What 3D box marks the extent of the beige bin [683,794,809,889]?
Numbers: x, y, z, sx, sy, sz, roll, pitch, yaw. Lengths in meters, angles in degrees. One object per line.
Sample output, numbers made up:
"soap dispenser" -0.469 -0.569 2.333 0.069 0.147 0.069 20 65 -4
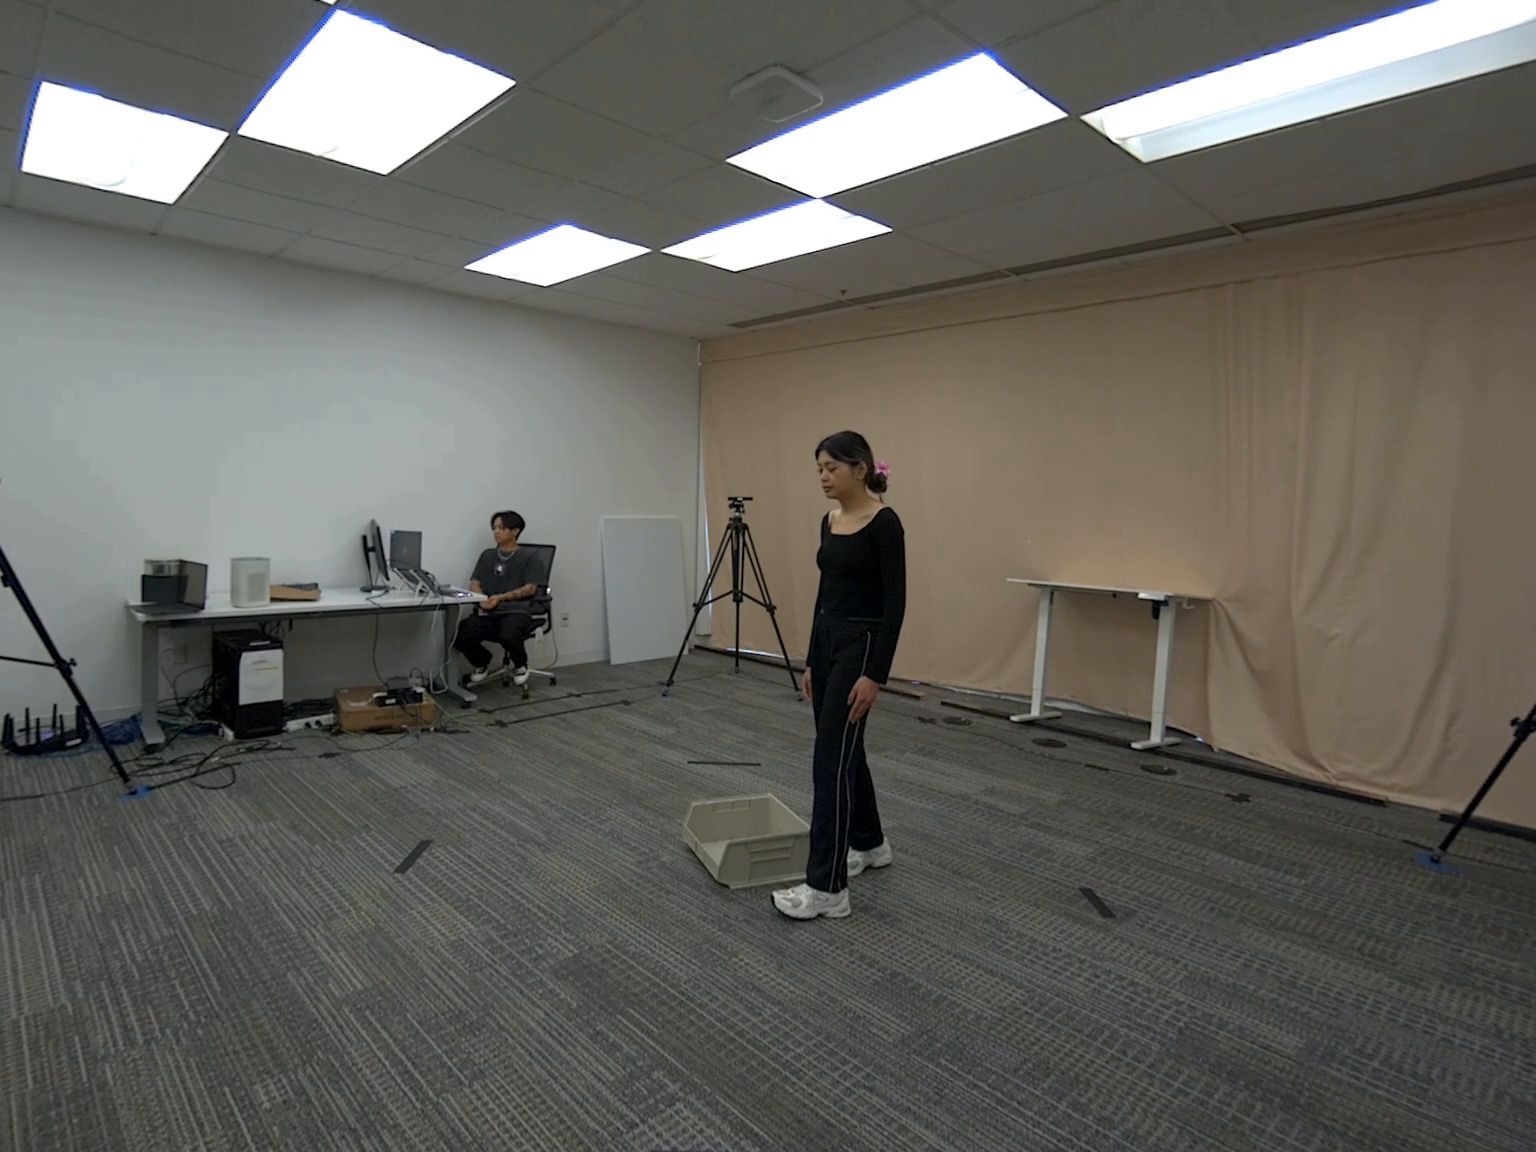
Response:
"beige bin" -0.089 1.009 3.227 0.371 0.188 0.430 1 4 -23
